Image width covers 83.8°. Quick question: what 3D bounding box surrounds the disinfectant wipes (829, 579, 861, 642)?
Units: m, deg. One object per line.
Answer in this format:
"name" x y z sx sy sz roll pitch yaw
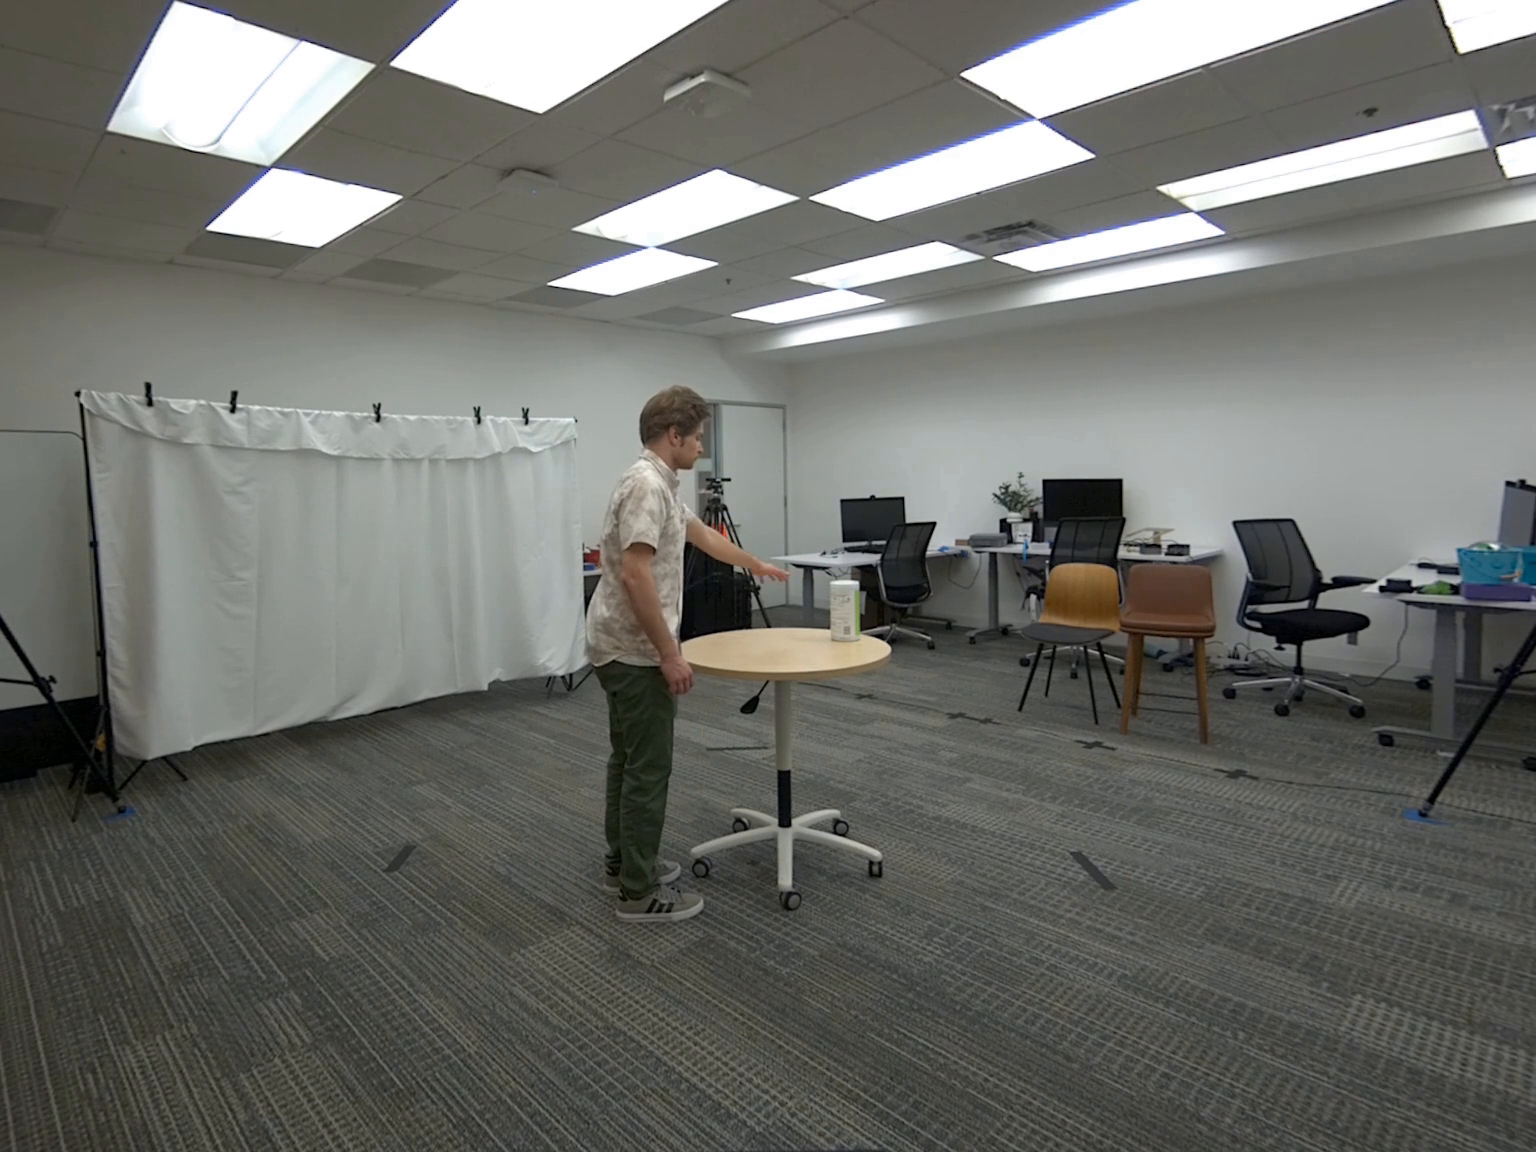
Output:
"disinfectant wipes" 0.287 0.129 3.163 0.118 0.217 0.118 -2 2 -2
